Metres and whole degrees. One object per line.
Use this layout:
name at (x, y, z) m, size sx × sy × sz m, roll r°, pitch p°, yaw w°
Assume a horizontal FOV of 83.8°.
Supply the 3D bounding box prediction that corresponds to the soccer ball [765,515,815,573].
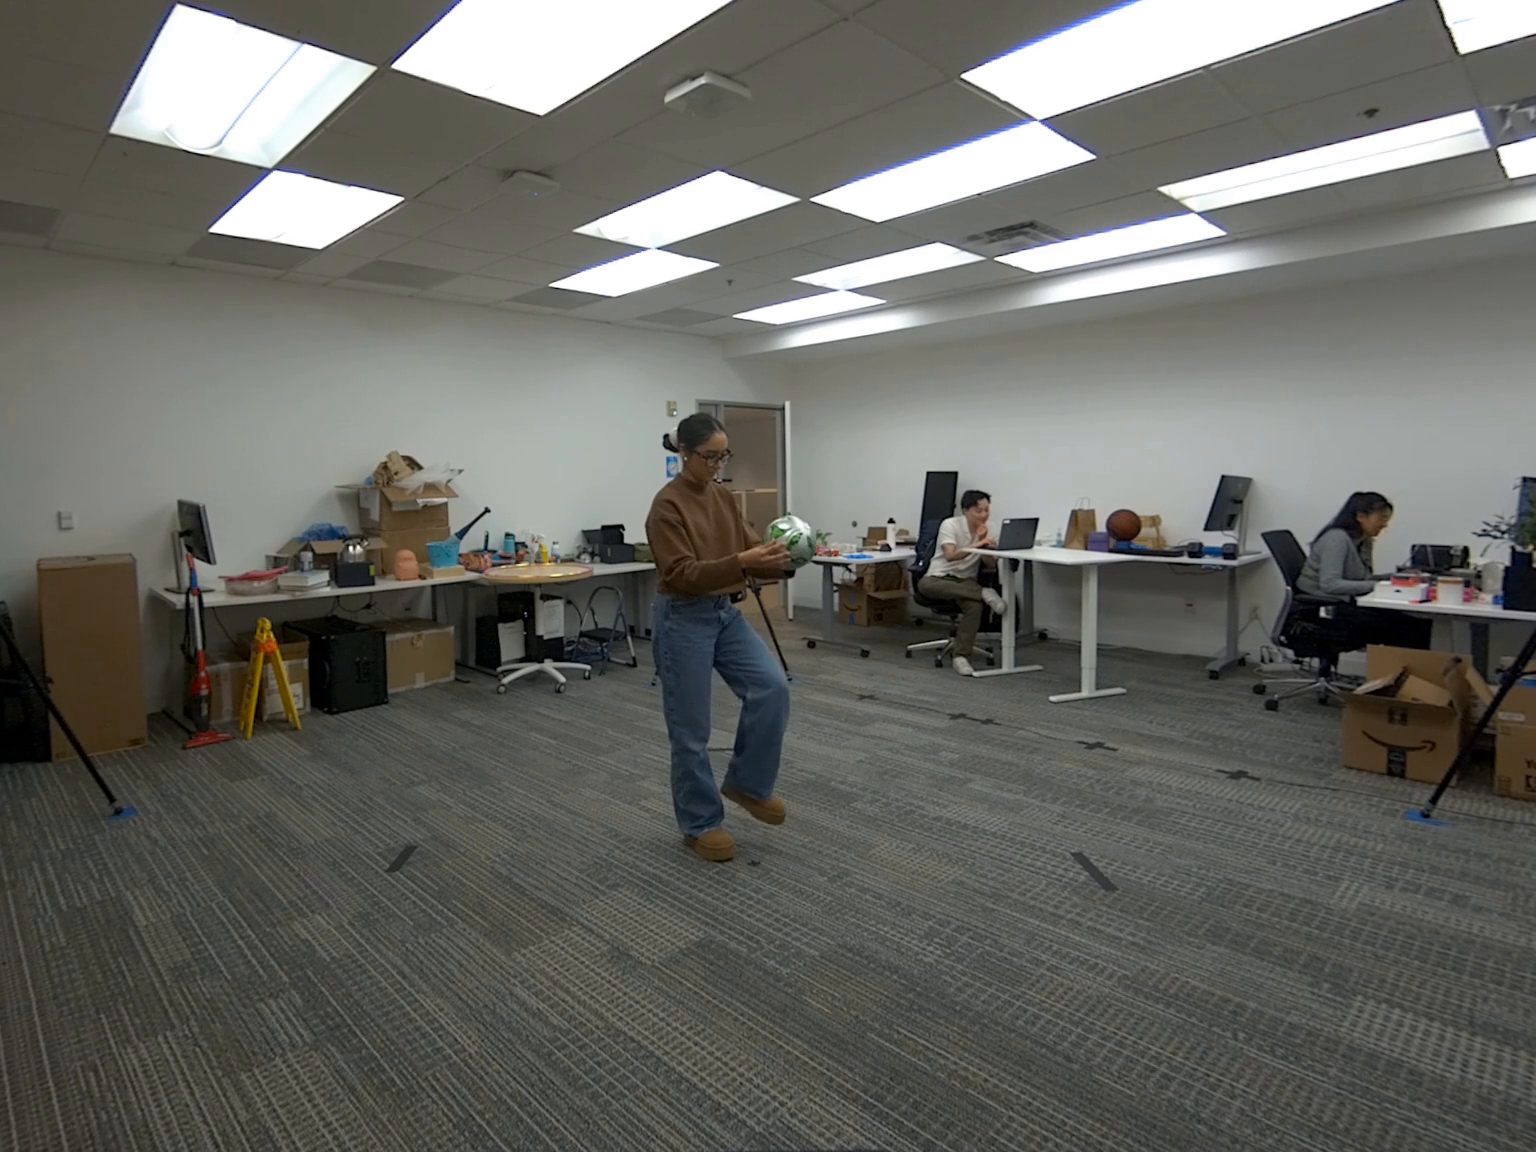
soccer ball at (0.079, -0.116, 2.964) m, size 0.187 × 0.187 × 0.188 m, roll -1°, pitch 5°, yaw -2°
